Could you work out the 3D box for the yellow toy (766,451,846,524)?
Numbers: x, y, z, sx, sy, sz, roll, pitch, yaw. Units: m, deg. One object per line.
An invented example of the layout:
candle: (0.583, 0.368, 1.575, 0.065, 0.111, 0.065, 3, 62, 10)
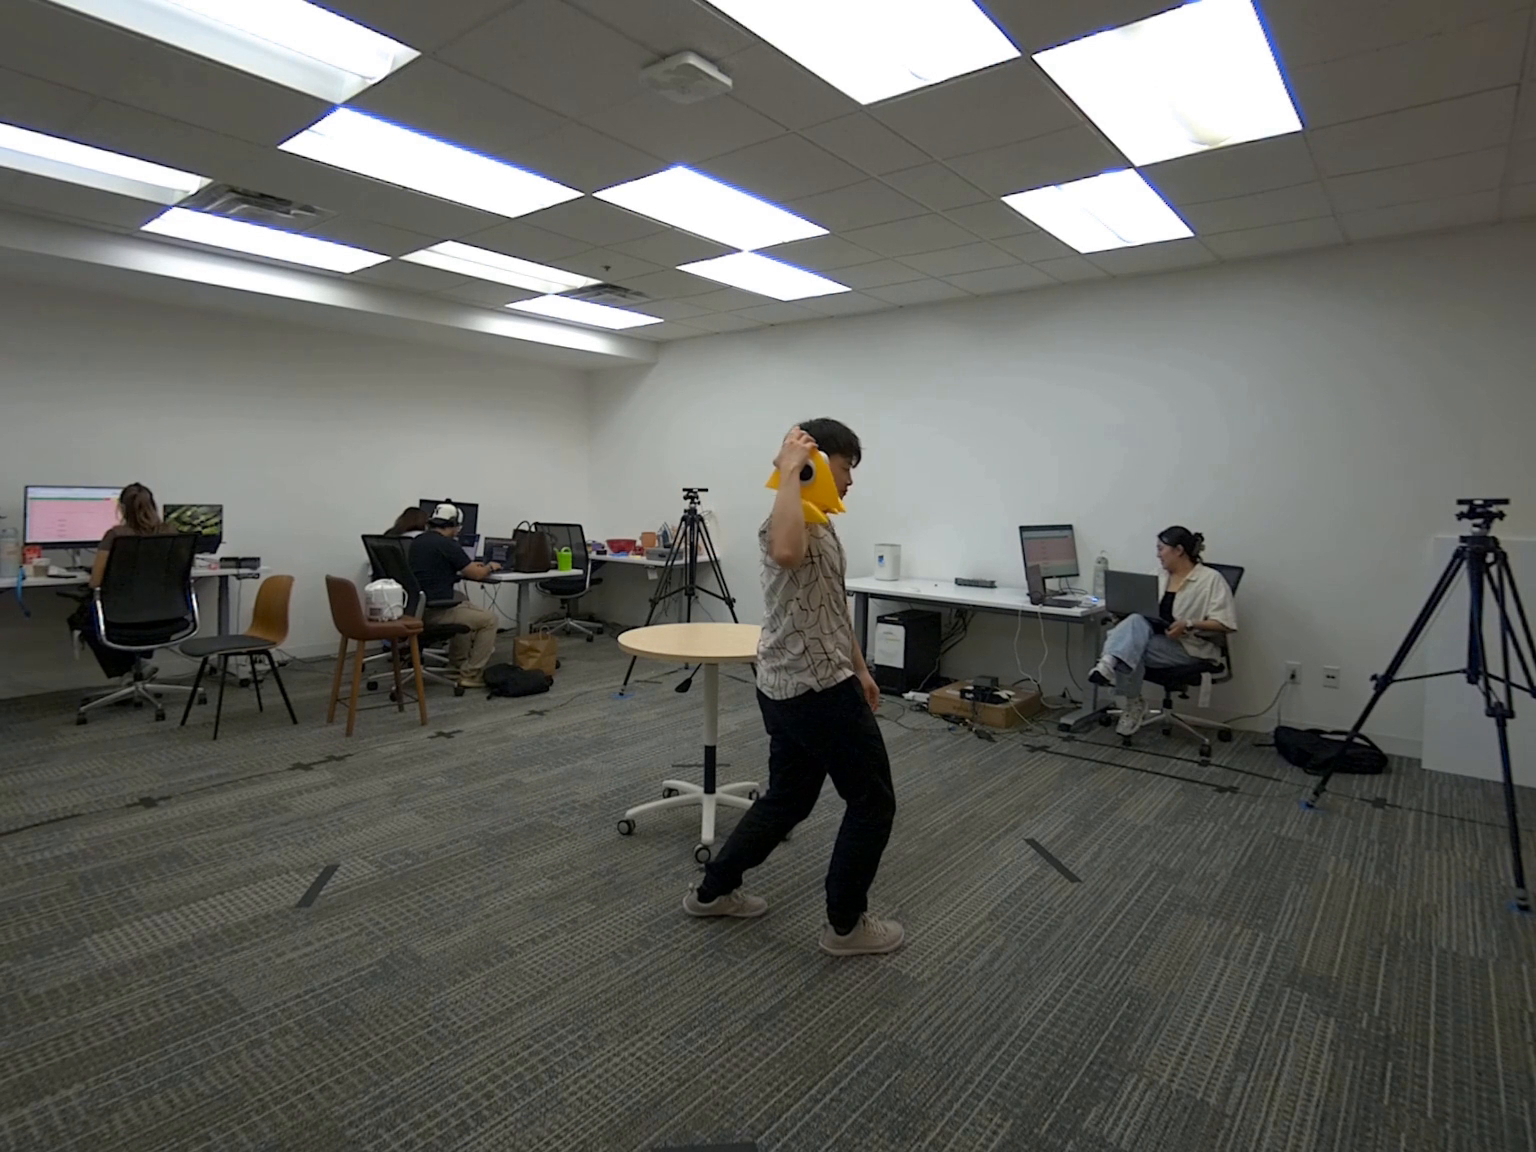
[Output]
yellow toy: (0.115, -0.296, 2.394, 0.199, 0.227, 0.201, 14, 21, 29)
